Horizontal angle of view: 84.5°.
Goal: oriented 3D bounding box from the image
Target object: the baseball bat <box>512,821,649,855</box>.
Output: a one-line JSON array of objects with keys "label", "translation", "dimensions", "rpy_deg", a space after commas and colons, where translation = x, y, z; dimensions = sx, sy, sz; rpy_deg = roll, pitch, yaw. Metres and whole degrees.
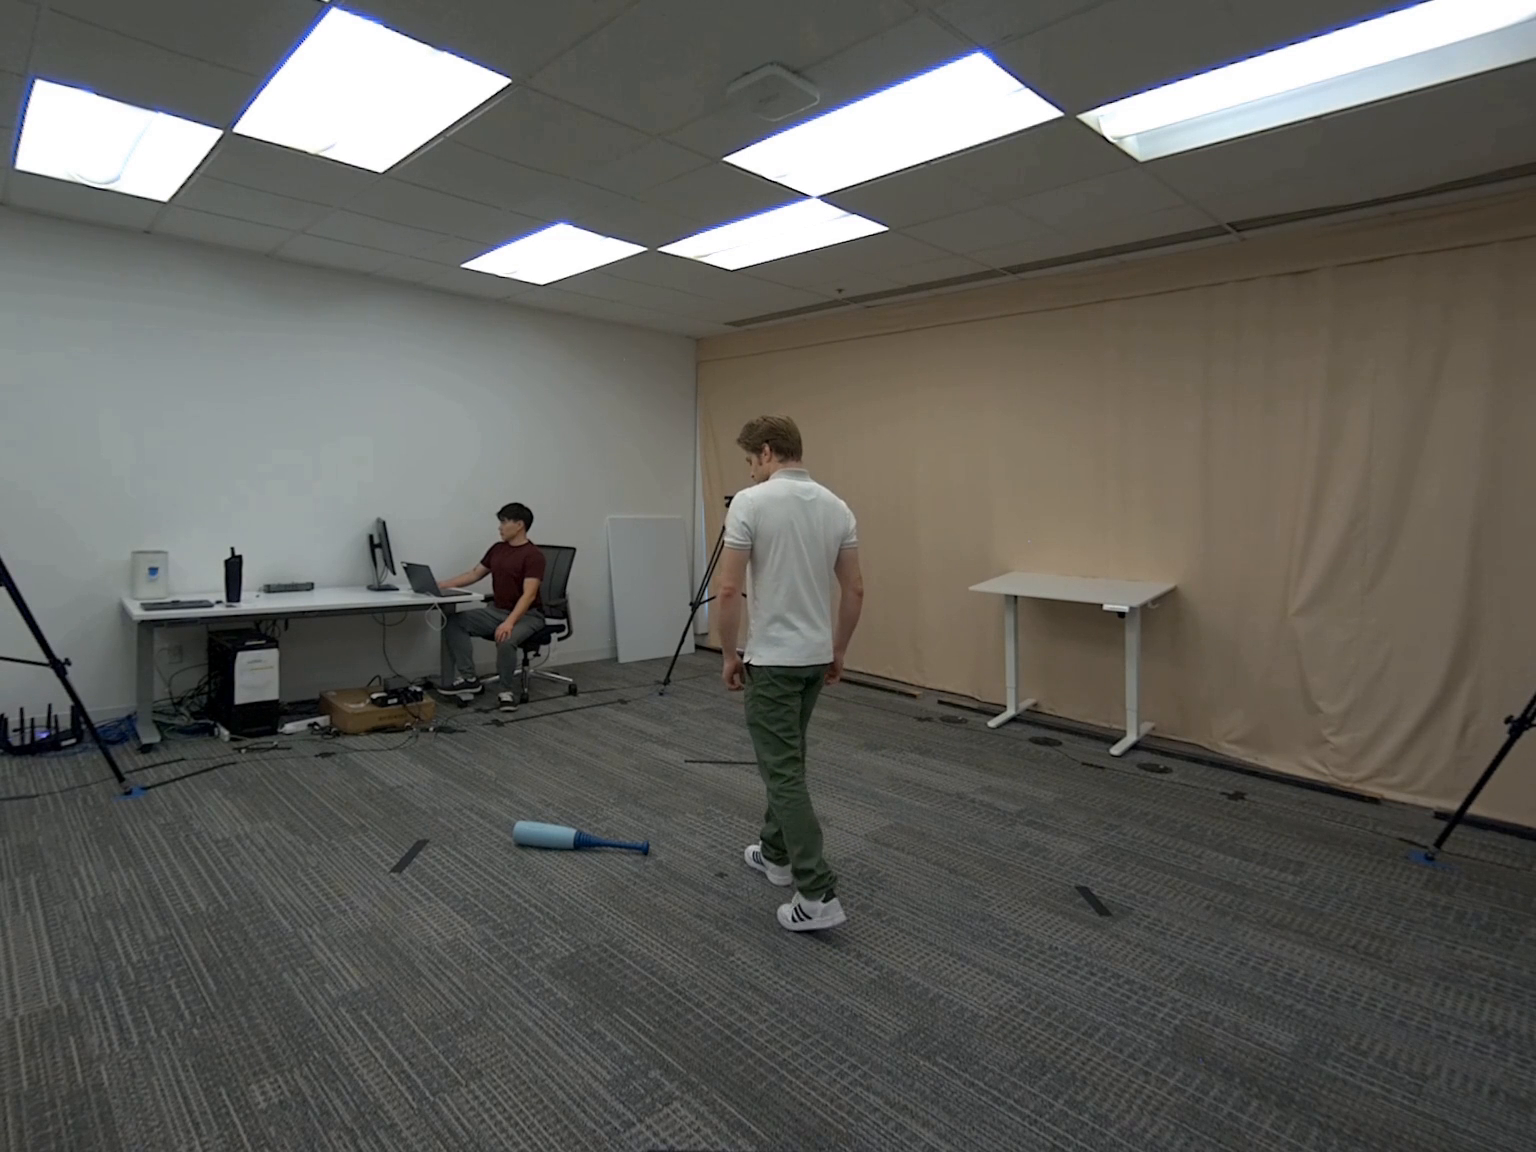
[{"label": "baseball bat", "translation": [-0.739, 1.040, 3.297], "dimensions": [0.546, 0.089, 0.089], "rpy_deg": [5, 5, 7]}]
